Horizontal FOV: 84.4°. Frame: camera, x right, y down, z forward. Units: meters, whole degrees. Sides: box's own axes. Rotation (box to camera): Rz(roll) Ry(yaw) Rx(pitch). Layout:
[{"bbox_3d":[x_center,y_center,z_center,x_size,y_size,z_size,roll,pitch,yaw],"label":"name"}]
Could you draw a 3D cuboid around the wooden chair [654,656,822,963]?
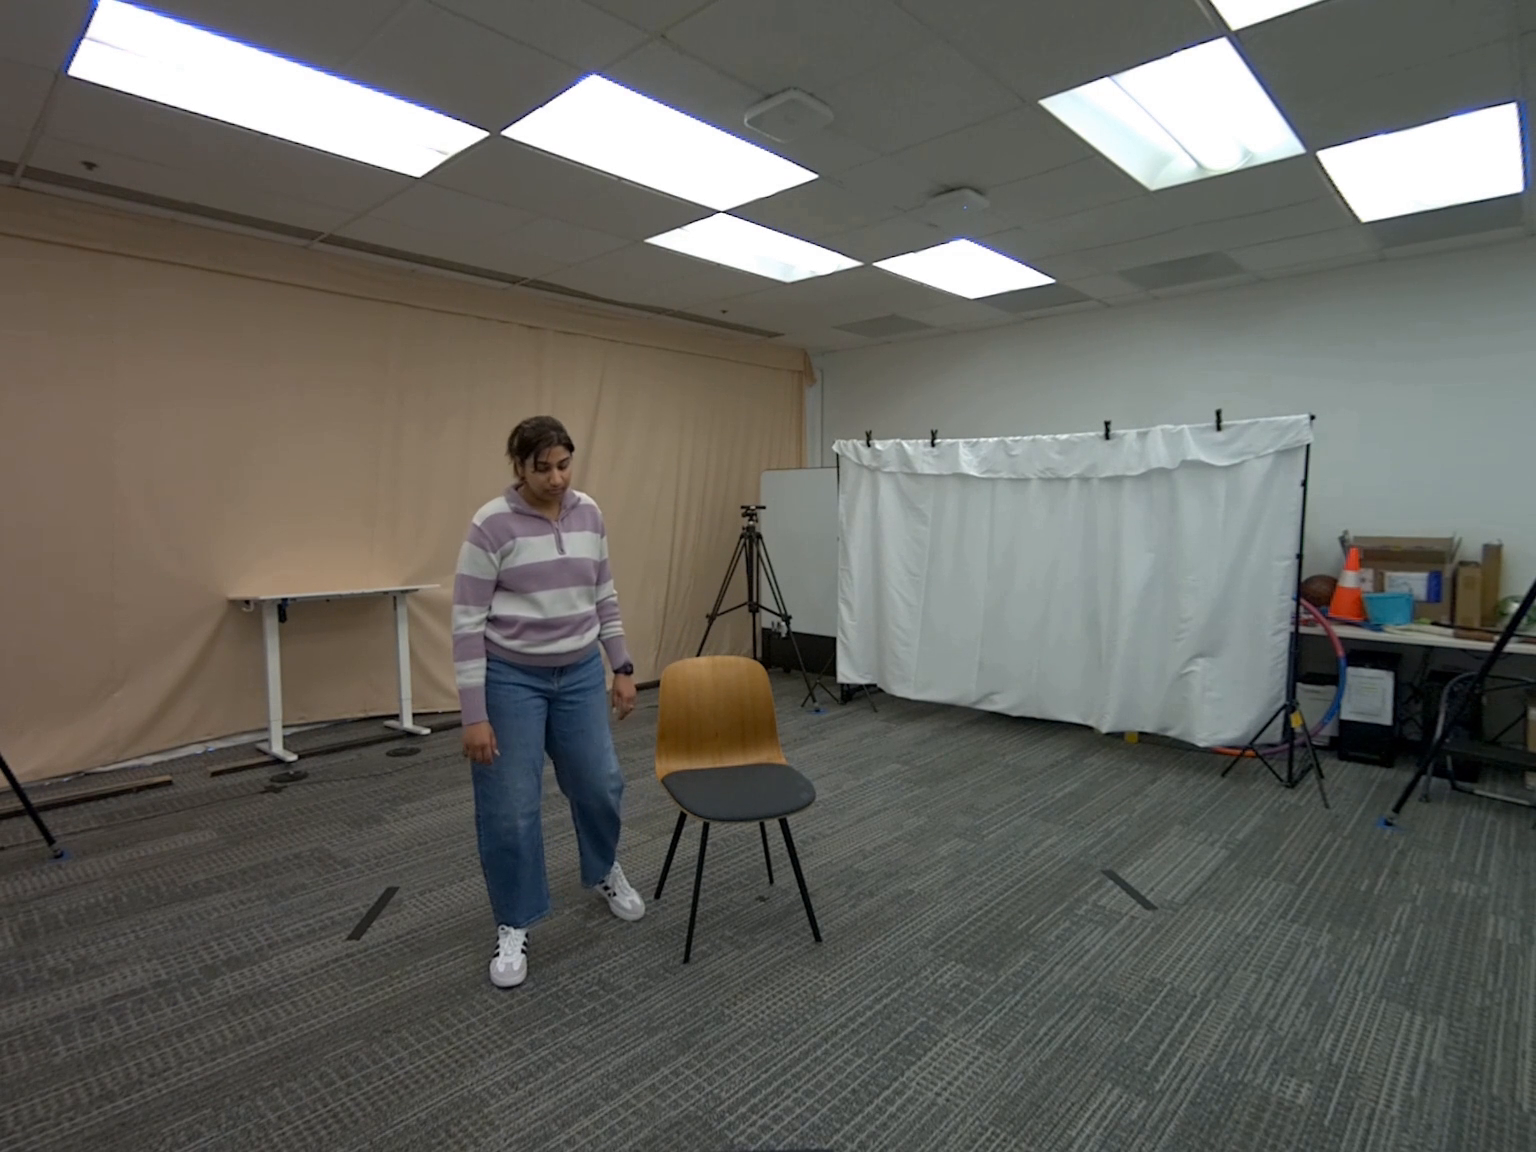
[{"bbox_3d":[-0.112,0.730,2.800,0.469,0.878,0.532,-1,-1,-18],"label":"wooden chair"}]
